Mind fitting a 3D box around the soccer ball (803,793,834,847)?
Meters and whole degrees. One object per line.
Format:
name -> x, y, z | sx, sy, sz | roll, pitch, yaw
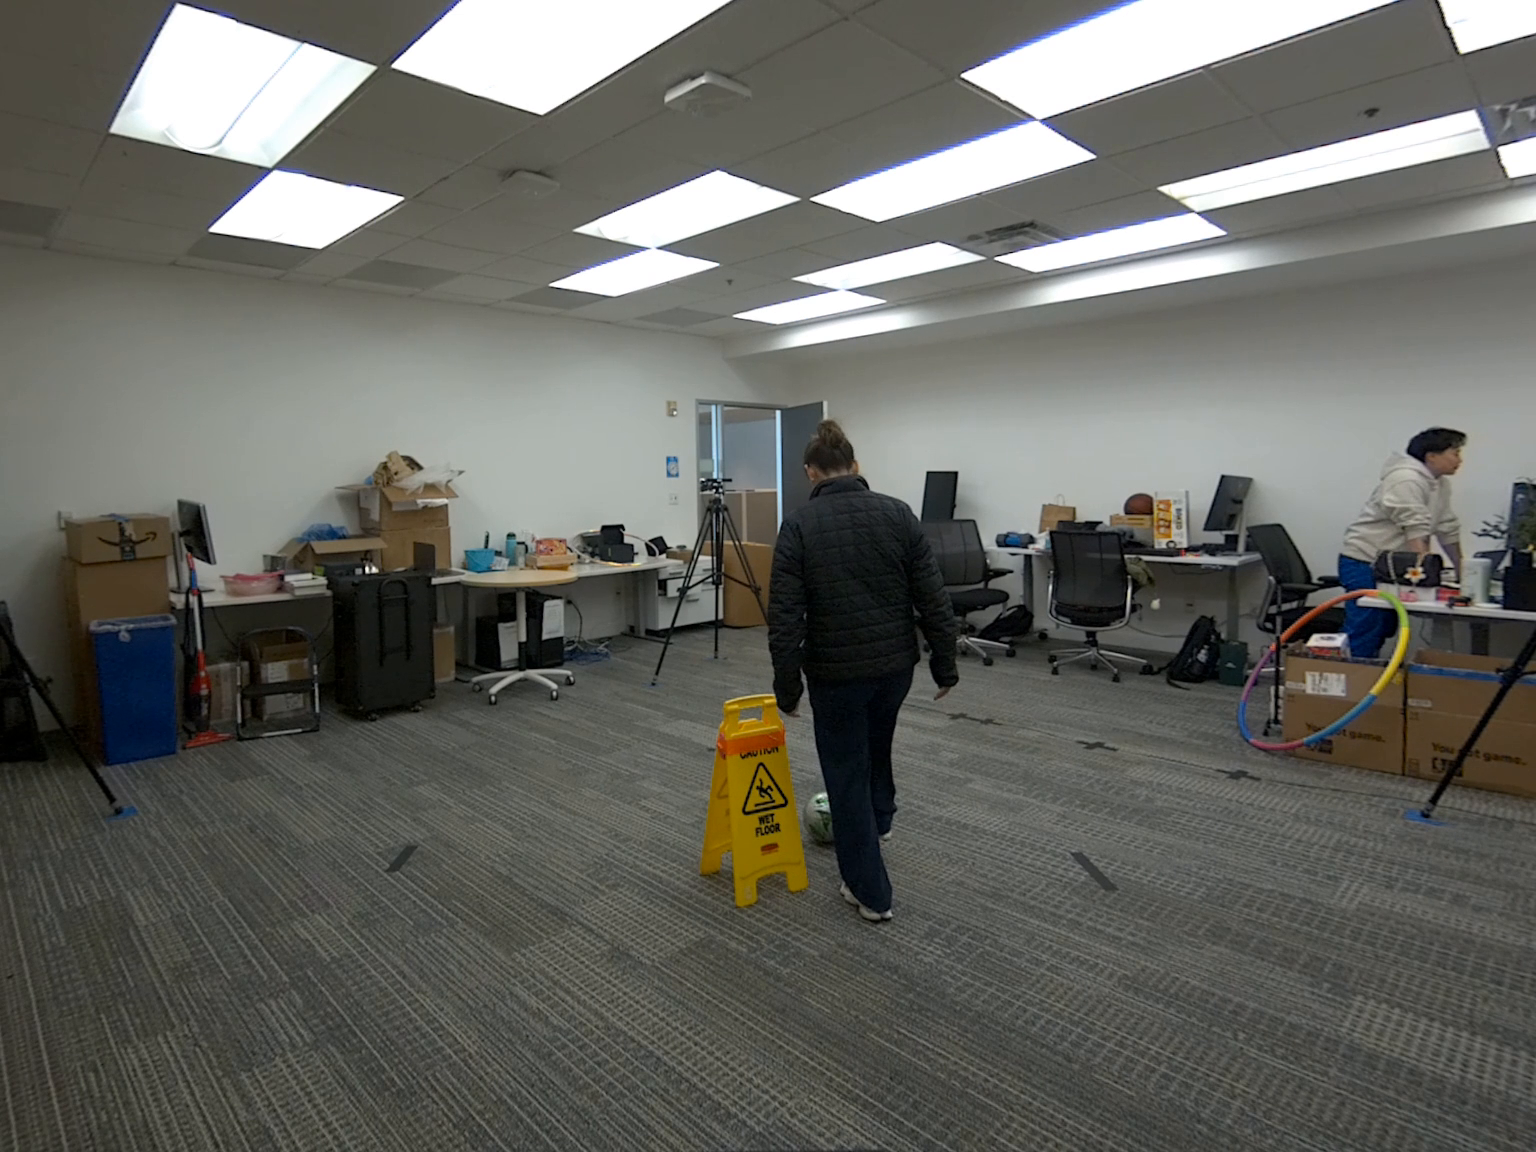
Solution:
soccer ball -> 0.220, 0.929, 3.285 | 0.187, 0.187, 0.188 | -1, 5, -2
